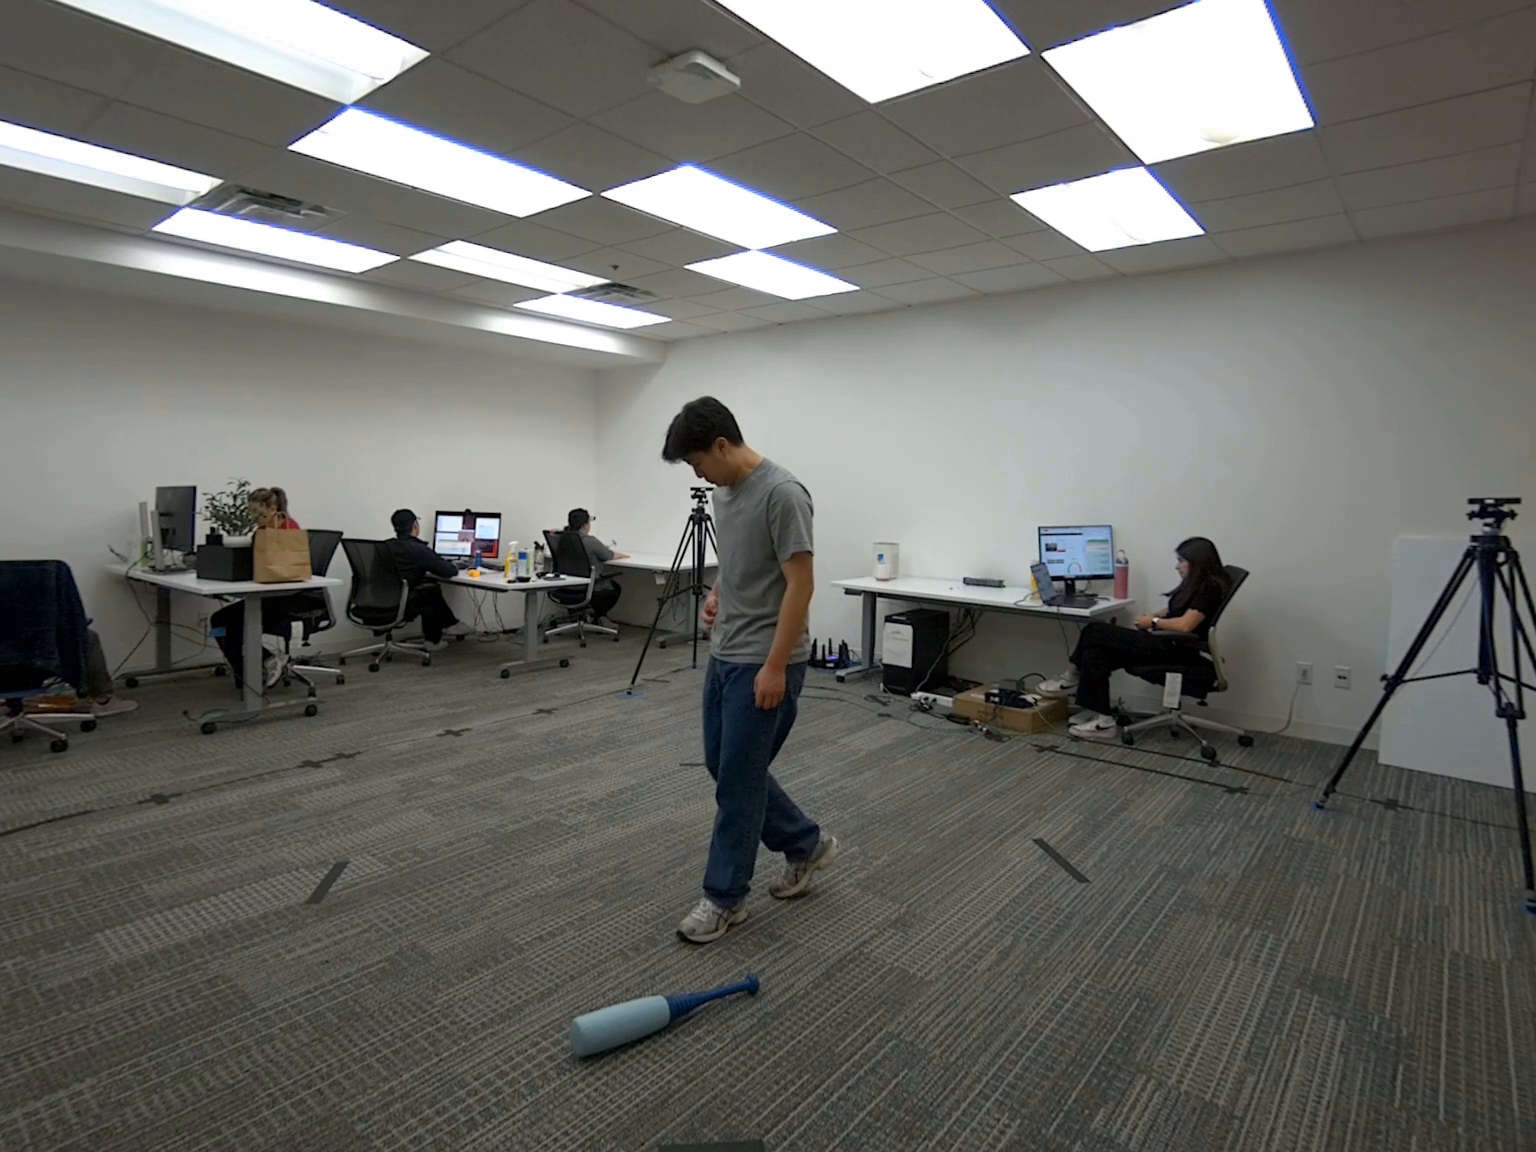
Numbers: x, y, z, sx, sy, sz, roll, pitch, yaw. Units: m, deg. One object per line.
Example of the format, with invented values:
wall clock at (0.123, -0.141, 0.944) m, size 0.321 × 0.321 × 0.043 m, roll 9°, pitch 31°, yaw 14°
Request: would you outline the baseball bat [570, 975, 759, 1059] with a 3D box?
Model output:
baseball bat at (-0.261, 1.123, 2.205) m, size 0.527 × 0.089 × 0.092 m, roll 1°, pitch 3°, yaw -33°
